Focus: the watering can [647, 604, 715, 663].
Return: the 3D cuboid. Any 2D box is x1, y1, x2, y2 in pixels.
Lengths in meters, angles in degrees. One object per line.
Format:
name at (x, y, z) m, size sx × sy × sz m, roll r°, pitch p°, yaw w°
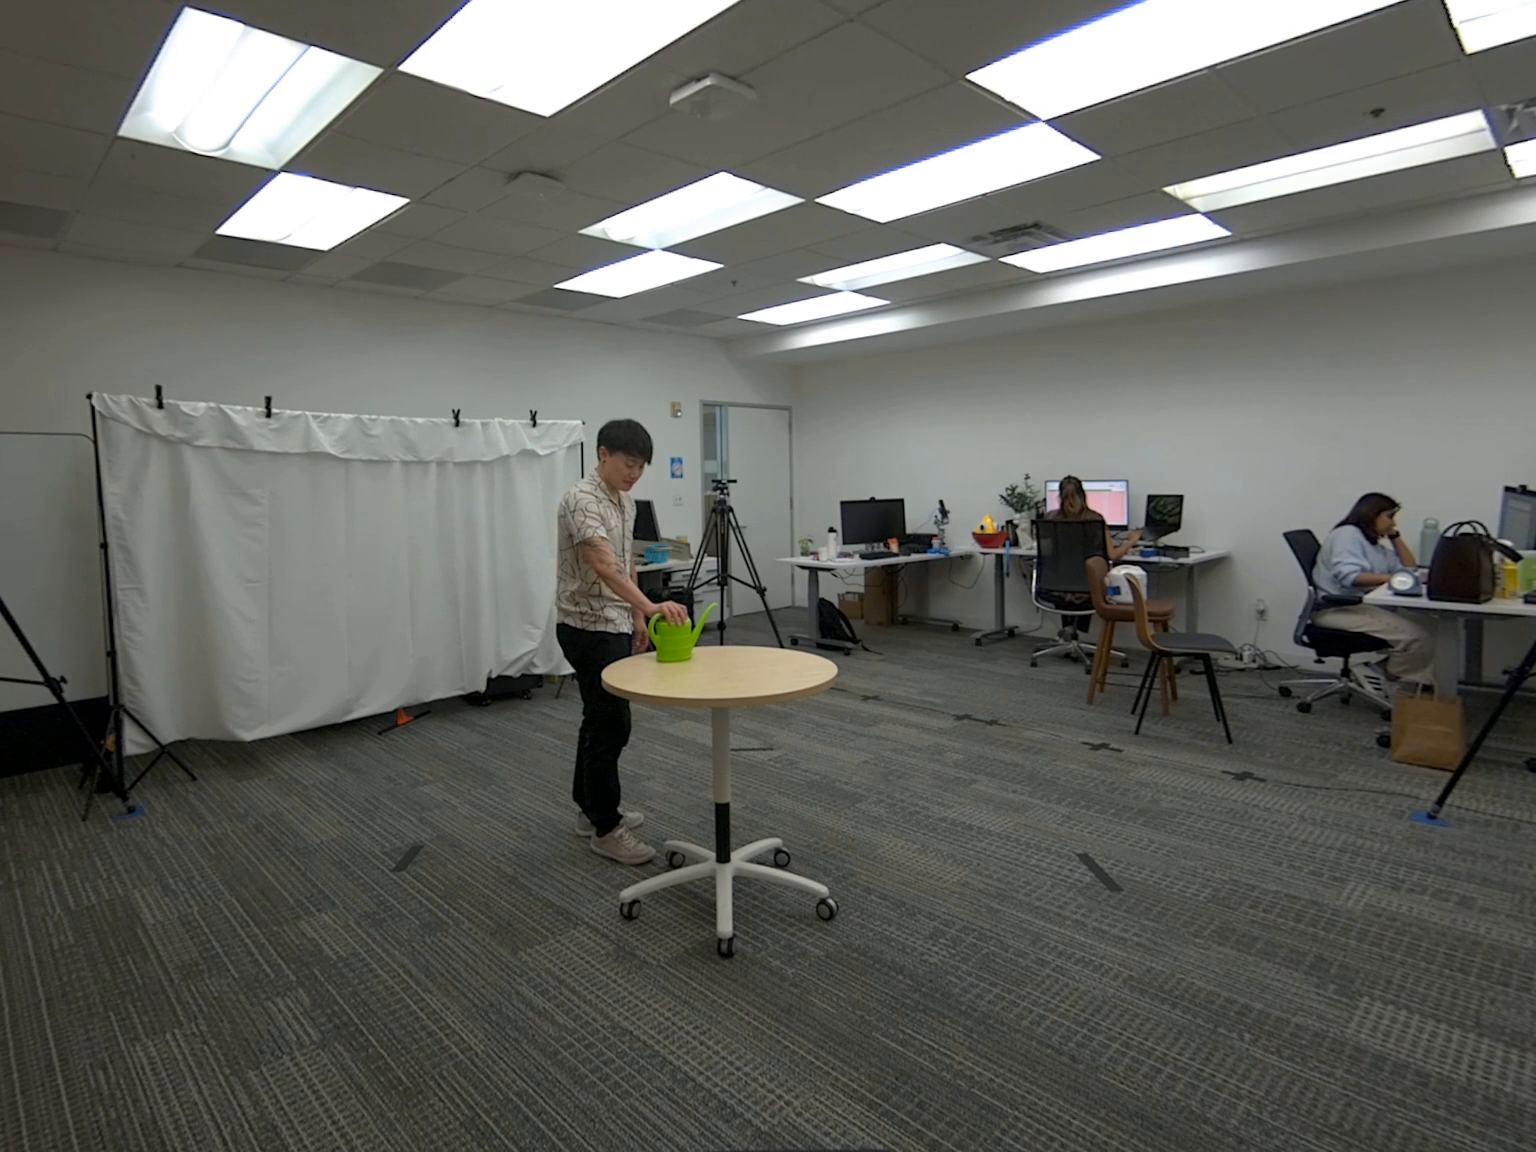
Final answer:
watering can at (-0.285, 0.201, 2.960) m, size 0.273 × 0.176 × 0.100 m, roll -4°, pitch 5°, yaw -22°
